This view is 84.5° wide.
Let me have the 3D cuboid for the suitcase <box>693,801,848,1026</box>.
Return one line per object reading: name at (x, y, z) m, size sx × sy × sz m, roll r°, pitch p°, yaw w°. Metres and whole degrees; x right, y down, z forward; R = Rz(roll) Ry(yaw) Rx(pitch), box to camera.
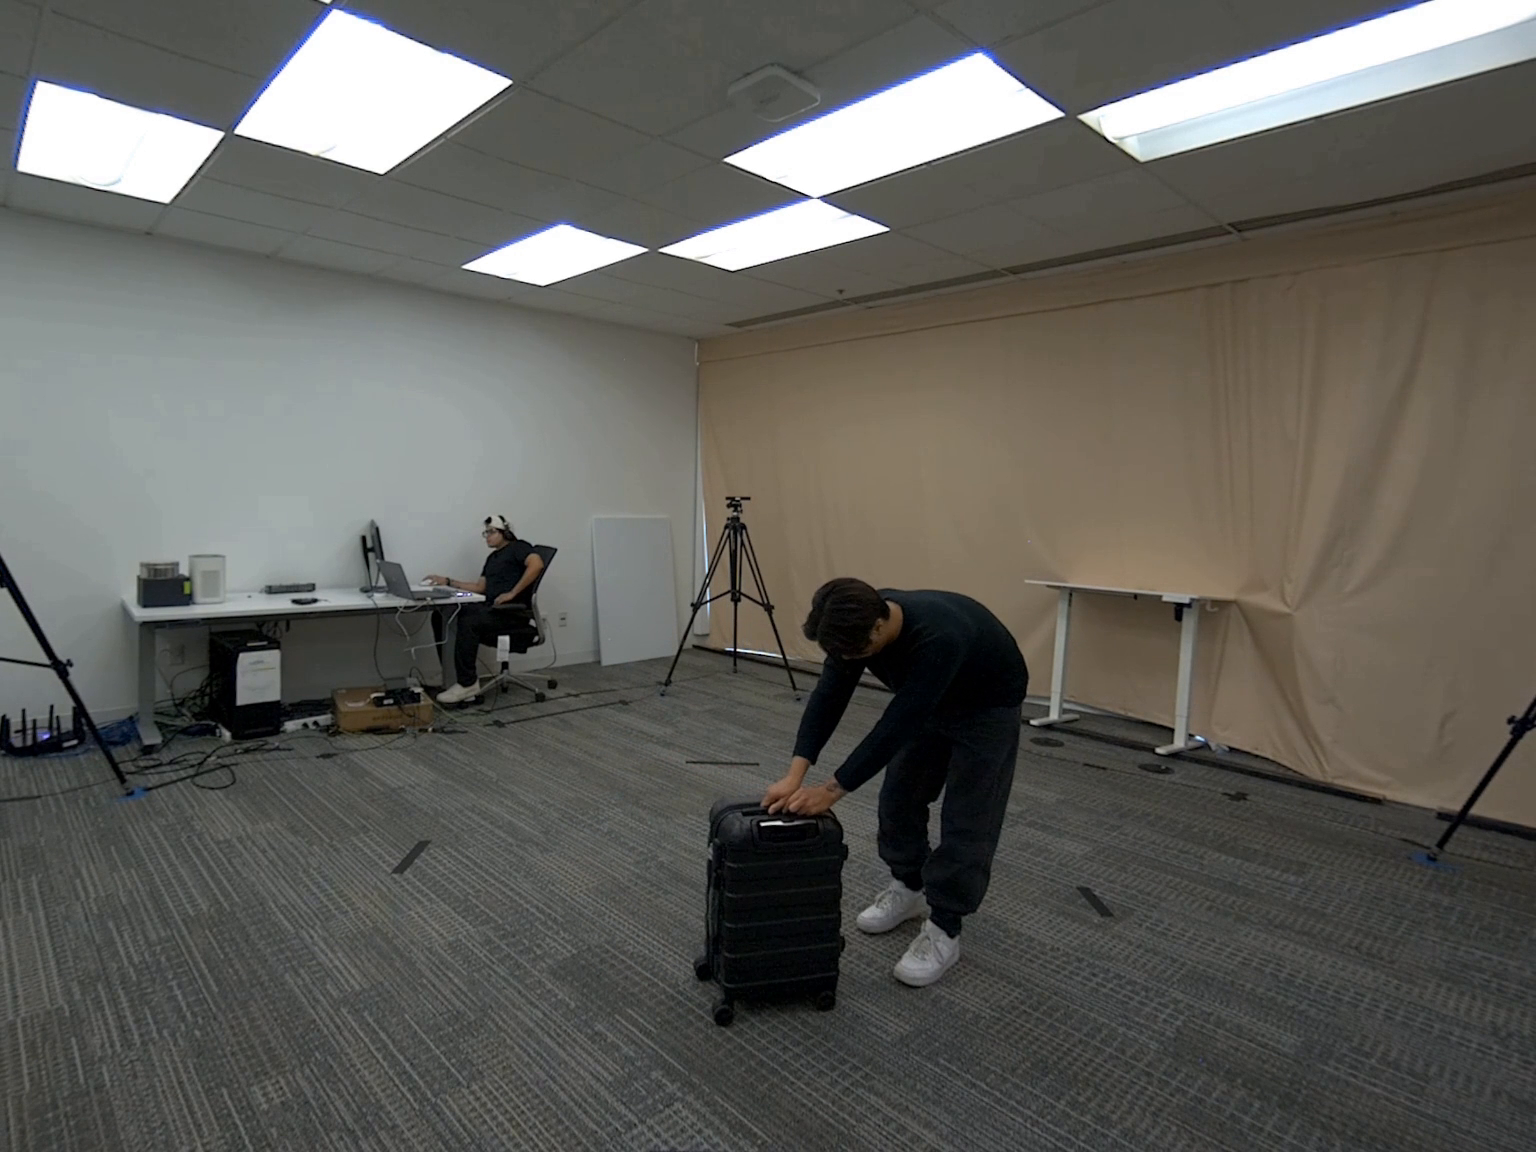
suitcase at (0.003, 0.903, 2.362) m, size 0.371 × 0.548 × 0.252 m, roll 2°, pitch 3°, yaw -16°
